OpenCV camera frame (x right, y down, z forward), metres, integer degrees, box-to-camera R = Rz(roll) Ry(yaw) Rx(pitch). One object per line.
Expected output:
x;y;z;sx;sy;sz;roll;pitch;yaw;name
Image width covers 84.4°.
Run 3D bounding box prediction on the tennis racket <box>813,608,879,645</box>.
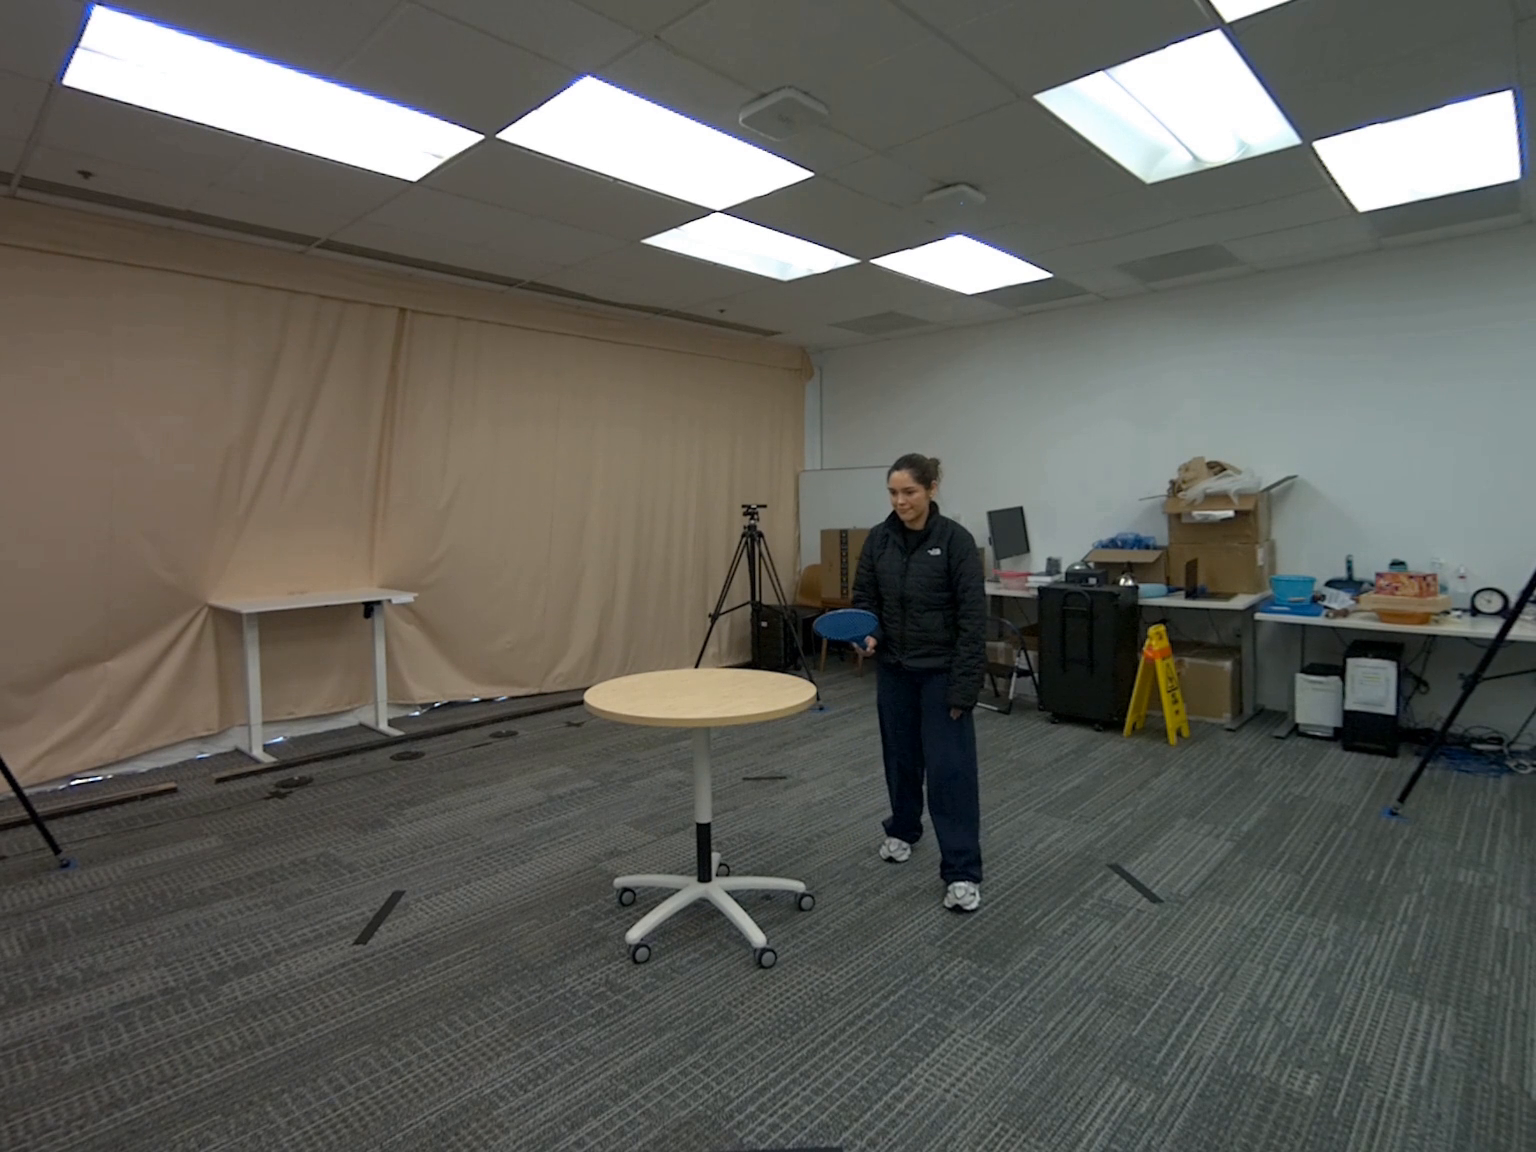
0.304;0.196;2.847;0.218;0.032;0.418;-15;-28;23;tennis racket
